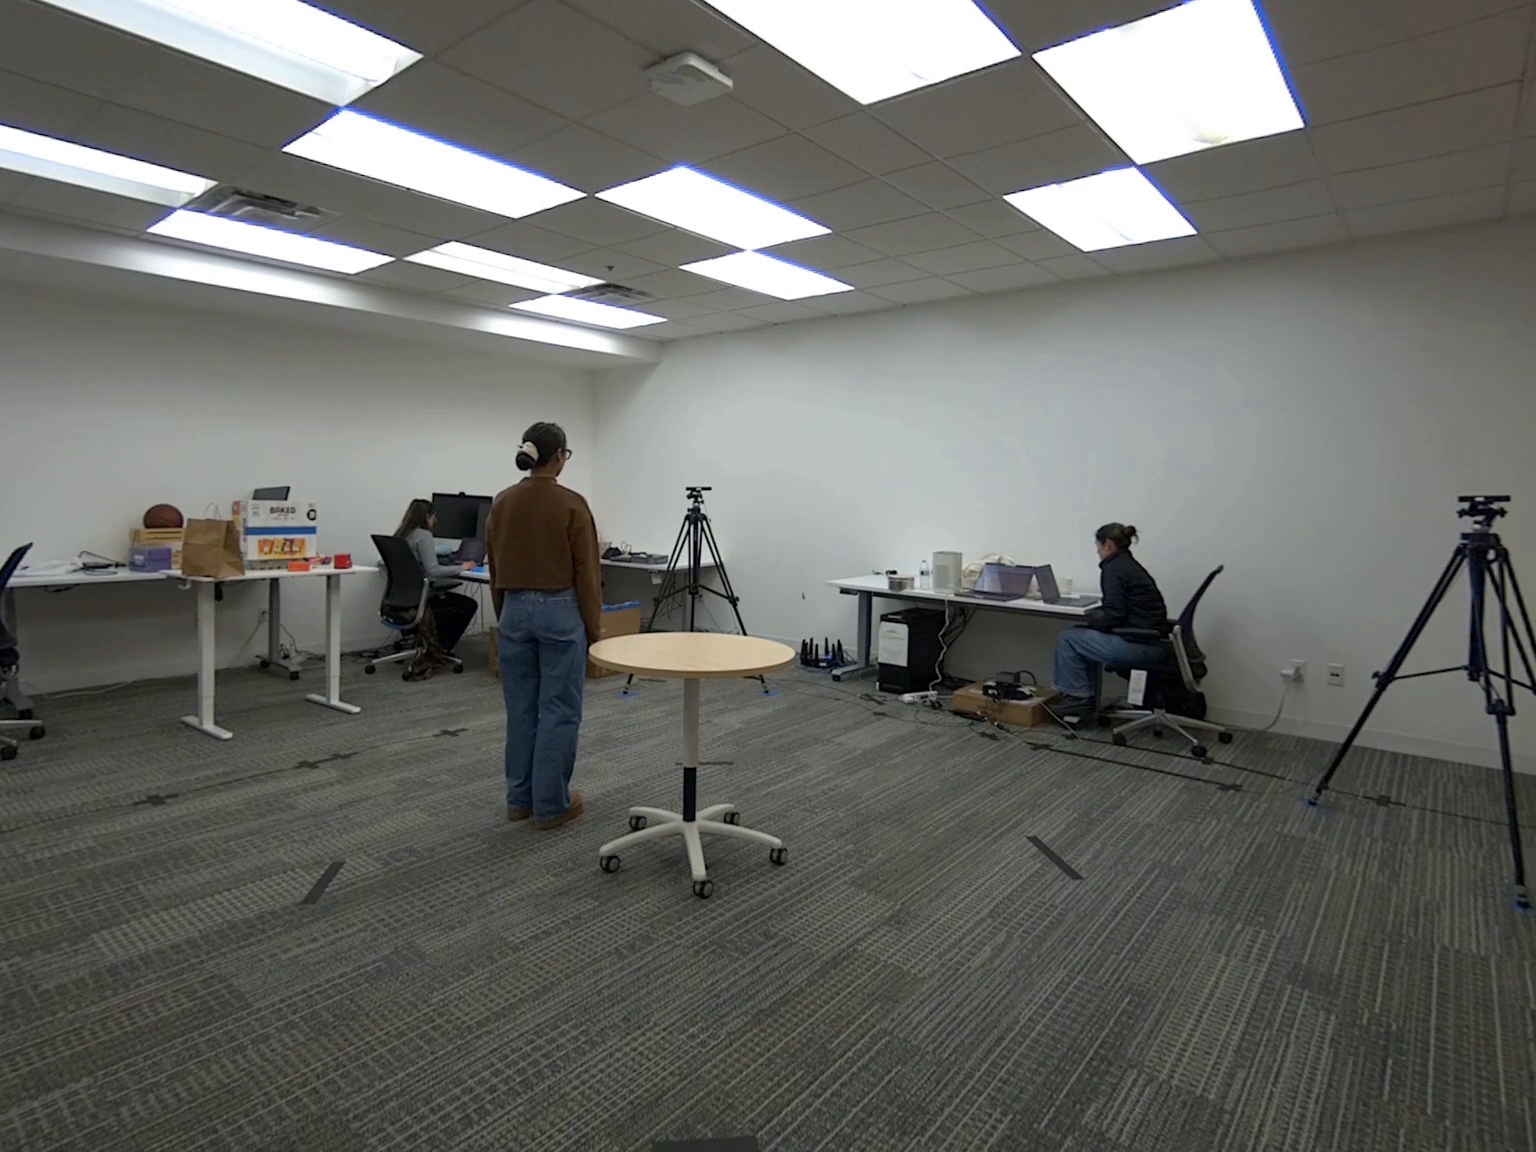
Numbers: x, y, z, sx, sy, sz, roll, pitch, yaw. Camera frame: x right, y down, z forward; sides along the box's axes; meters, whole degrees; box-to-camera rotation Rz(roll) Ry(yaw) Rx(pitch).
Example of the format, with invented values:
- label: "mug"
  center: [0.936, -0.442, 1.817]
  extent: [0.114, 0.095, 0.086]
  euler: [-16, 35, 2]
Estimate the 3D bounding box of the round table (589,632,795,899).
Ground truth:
- label: "round table"
  center: [-0.303, 0.666, 3.186]
  extent: [0.763, 0.792, 0.767]
  euler: [1, 4, -2]
